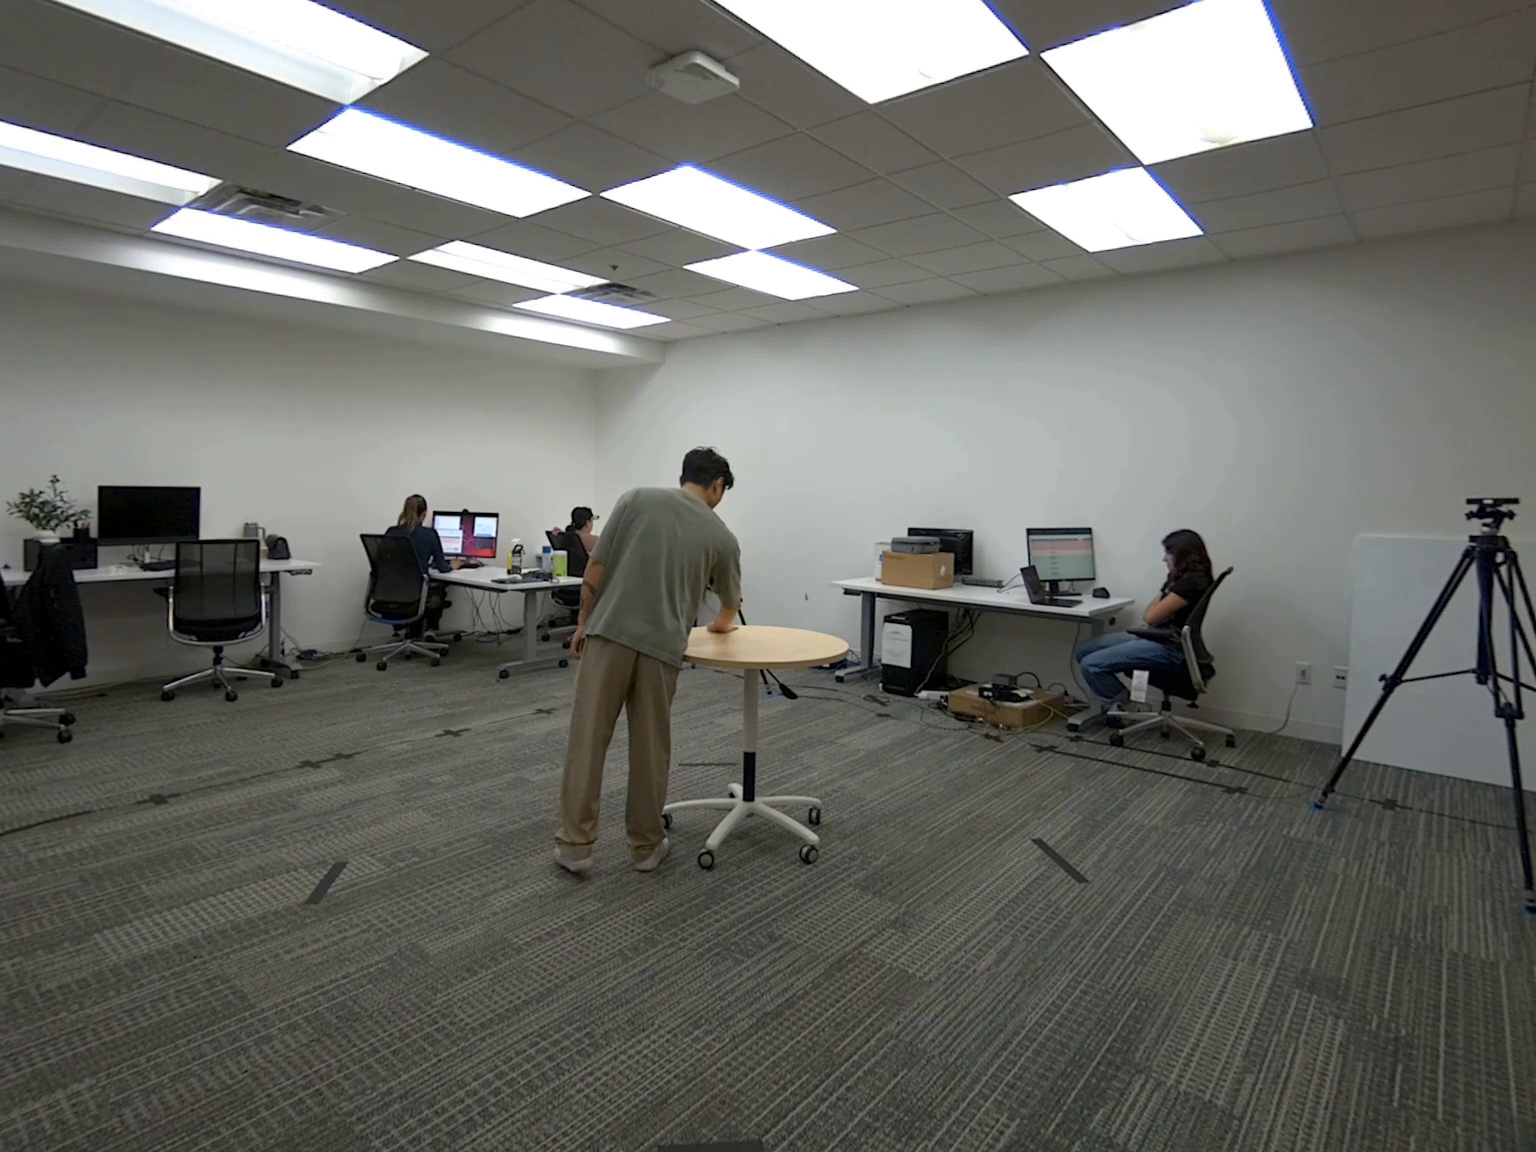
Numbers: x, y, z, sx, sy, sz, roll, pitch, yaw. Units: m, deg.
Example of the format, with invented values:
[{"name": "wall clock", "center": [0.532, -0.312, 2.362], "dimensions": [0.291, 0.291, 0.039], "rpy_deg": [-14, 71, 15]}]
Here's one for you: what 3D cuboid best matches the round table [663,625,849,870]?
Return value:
[{"name": "round table", "center": [-0.081, 0.652, 3.415], "dimensions": [0.763, 0.791, 0.768], "rpy_deg": [1, 4, -2]}]
